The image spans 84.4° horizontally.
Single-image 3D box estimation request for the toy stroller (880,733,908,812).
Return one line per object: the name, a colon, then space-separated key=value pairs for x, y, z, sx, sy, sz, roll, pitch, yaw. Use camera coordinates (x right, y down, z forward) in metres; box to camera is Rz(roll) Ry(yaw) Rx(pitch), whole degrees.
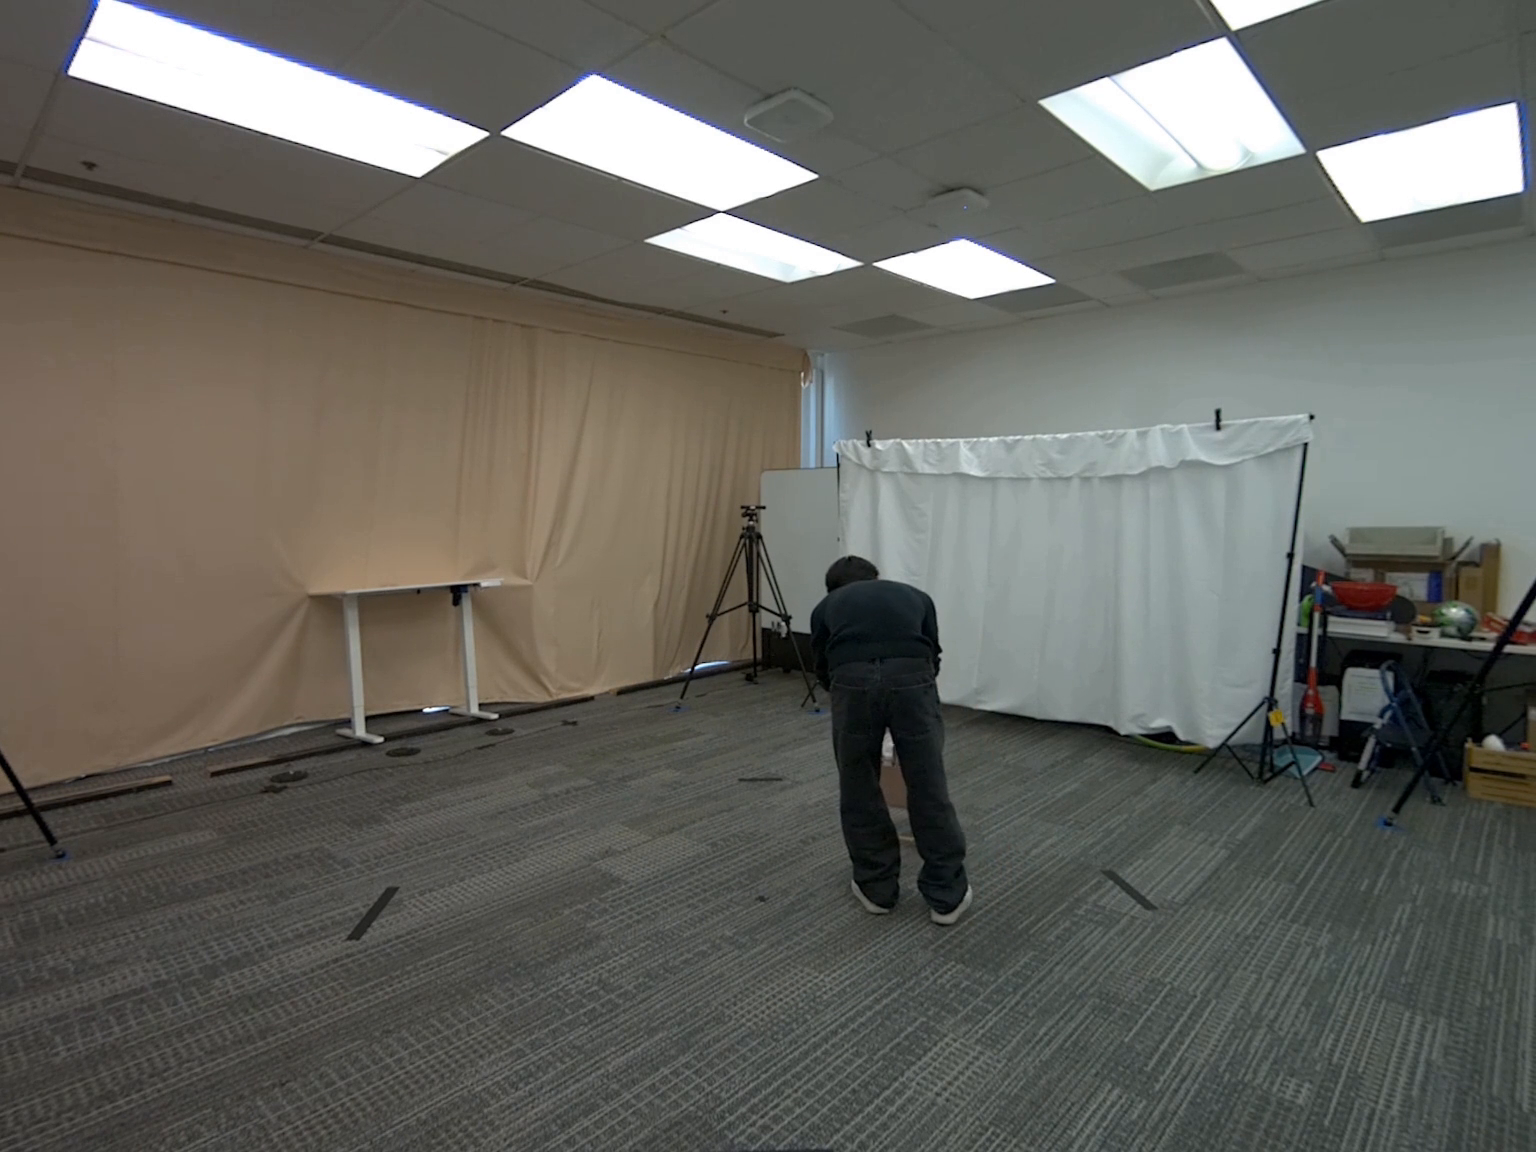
toy stroller: x=0.563 y=0.876 z=3.515 sx=0.289 sy=0.527 sz=0.337 roll=2 pitch=23 yaw=26
